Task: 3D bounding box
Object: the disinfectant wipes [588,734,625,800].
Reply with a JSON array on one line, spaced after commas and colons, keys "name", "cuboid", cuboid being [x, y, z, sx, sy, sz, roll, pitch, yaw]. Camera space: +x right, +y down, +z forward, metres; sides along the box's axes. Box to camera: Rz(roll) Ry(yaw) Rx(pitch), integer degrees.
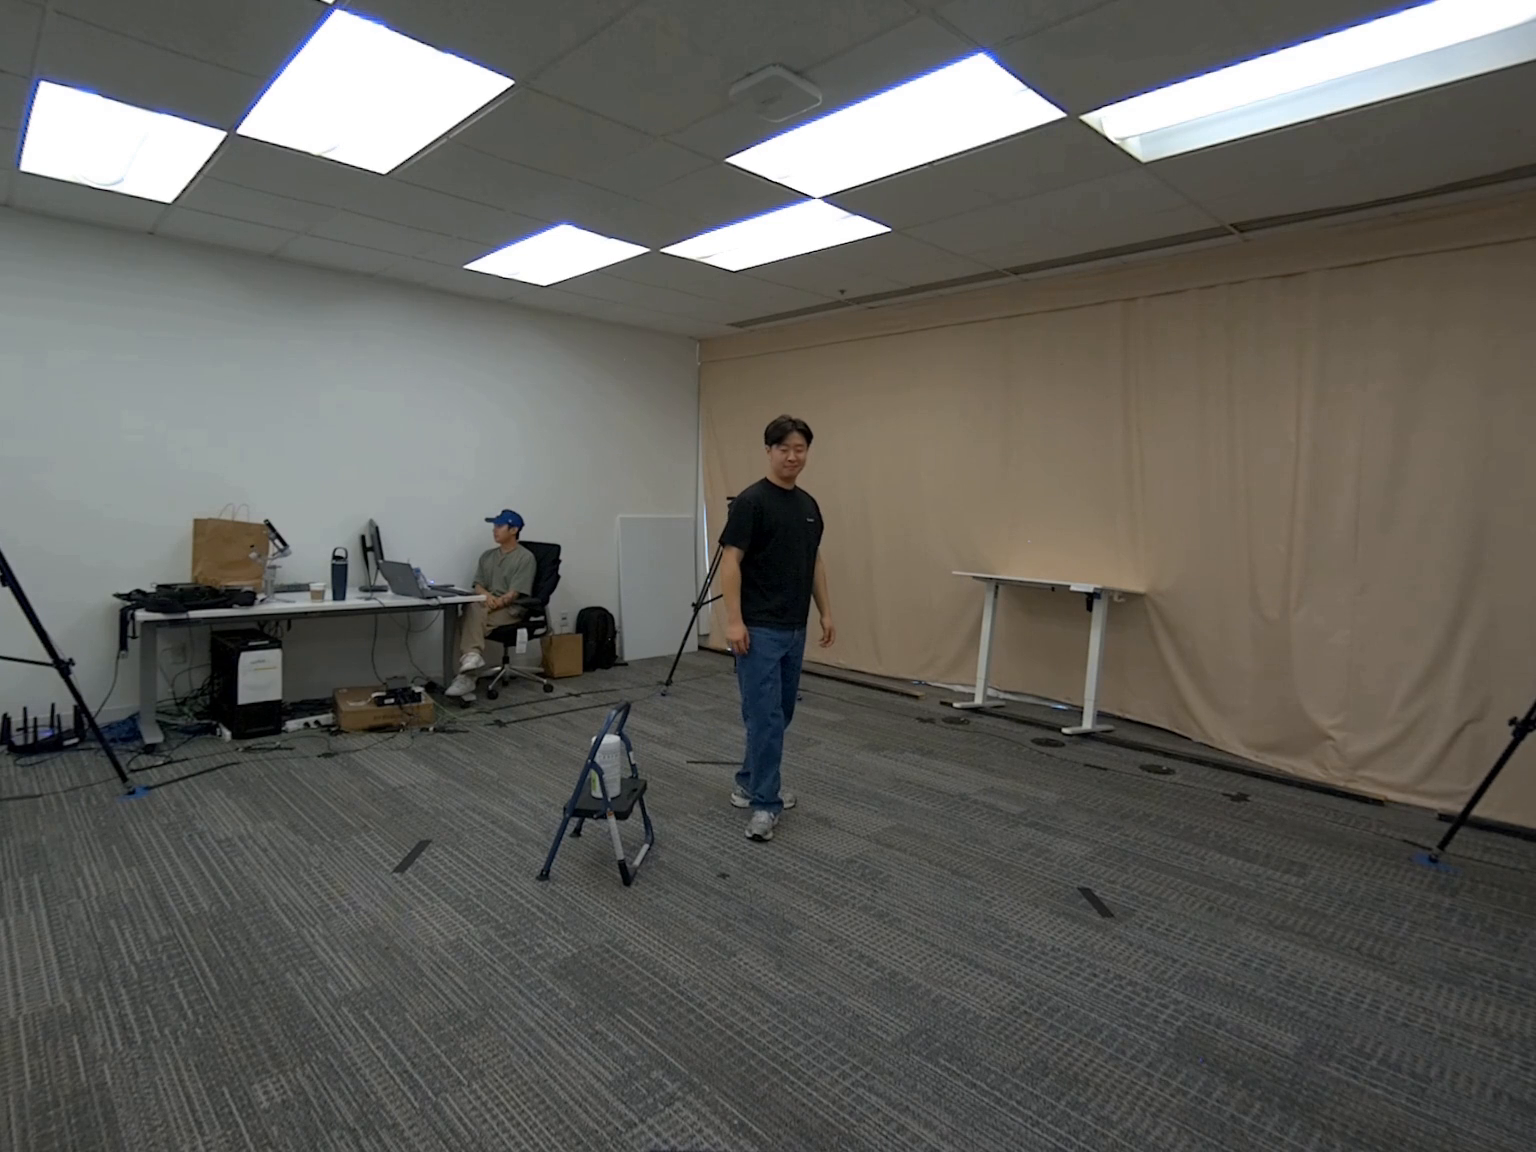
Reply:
[{"name": "disinfectant wipes", "cuboid": [-0.613, 0.723, 3.175, 0.118, 0.217, 0.118, 0, 1, -1]}]
